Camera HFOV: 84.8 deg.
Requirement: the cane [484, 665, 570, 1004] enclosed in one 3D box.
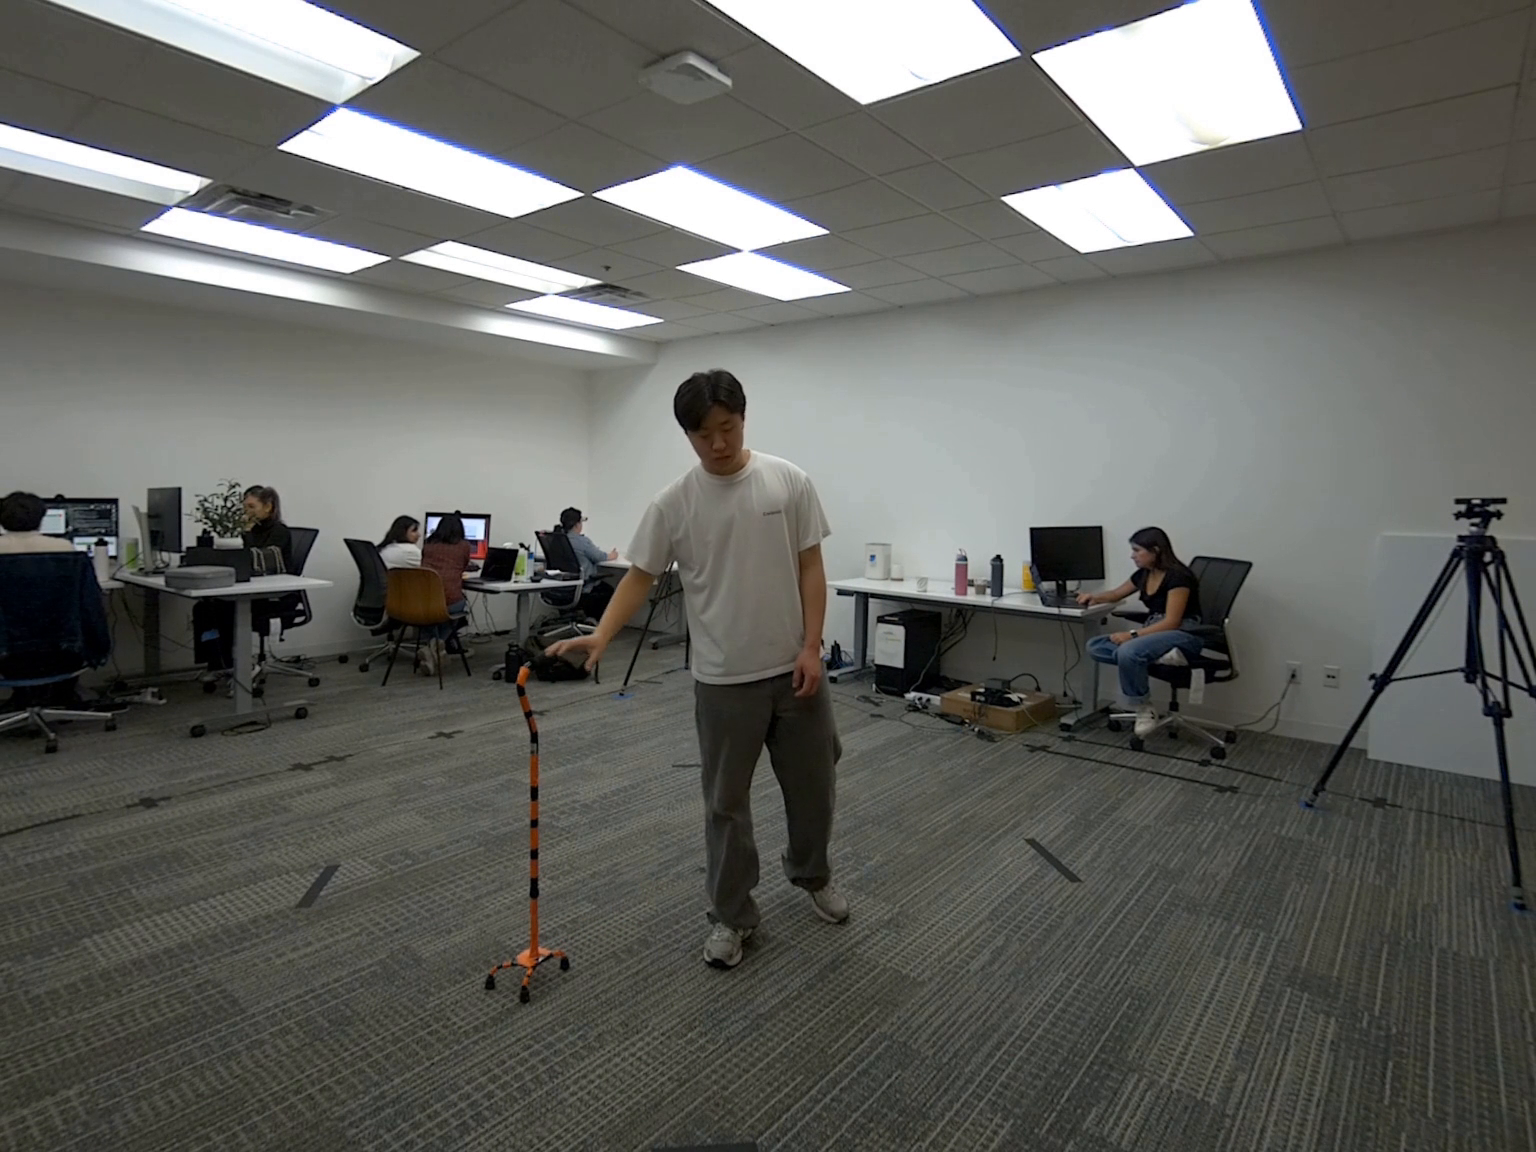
[{"bbox_3d":[-0.676,0.679,2.387,0.156,0.905,0.201,2,3,26],"label":"cane"}]
